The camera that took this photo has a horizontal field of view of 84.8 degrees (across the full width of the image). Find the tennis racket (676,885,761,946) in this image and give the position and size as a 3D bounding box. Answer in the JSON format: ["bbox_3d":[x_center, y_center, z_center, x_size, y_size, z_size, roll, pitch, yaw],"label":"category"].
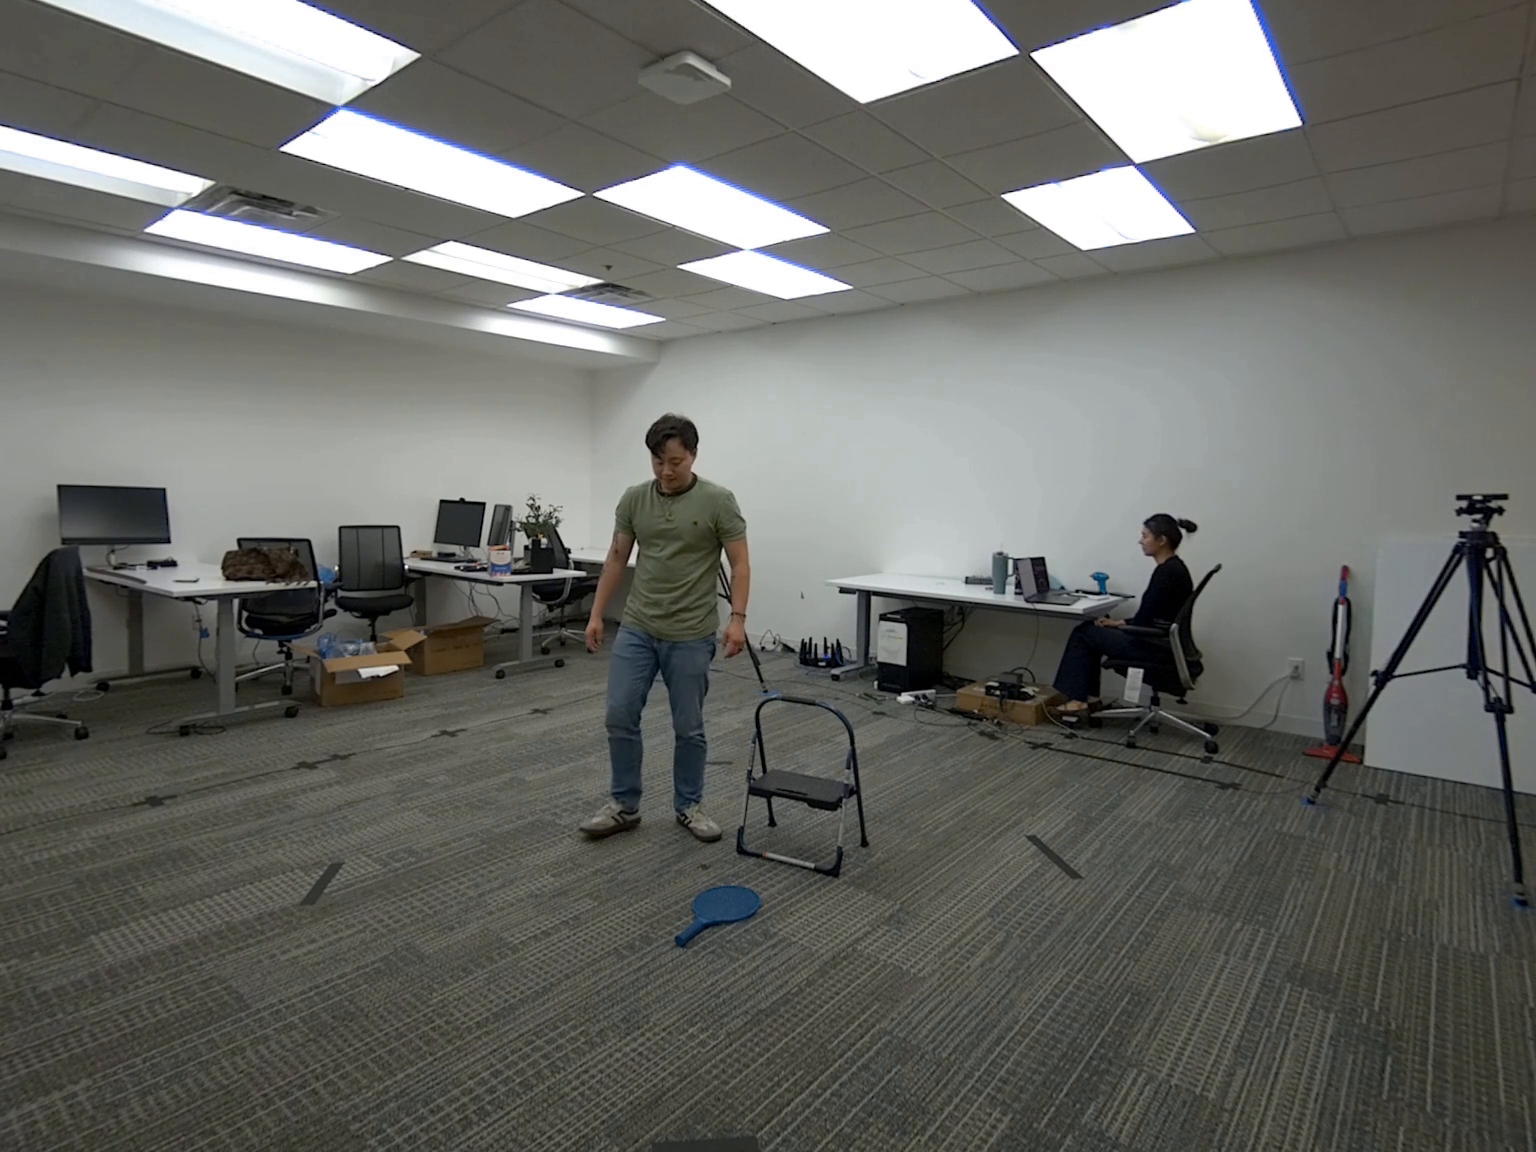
[{"bbox_3d":[-0.178,1.089,2.753,0.219,0.031,0.422,3,5,26],"label":"tennis racket"}]
